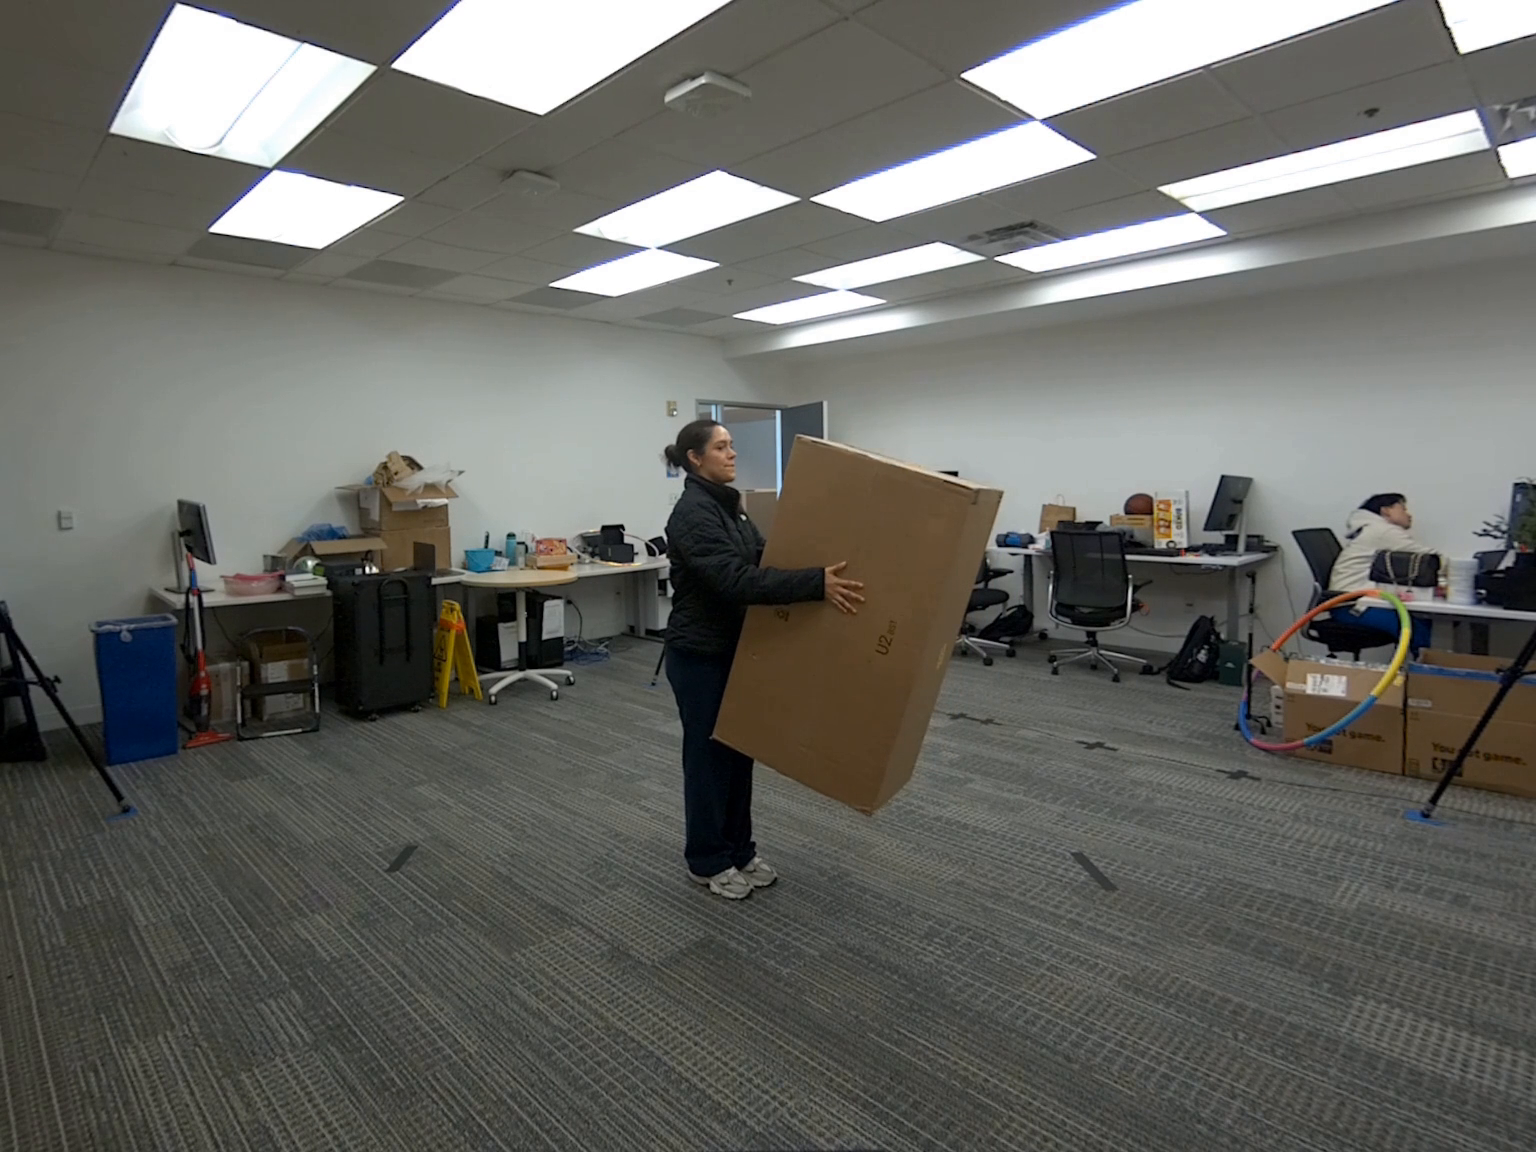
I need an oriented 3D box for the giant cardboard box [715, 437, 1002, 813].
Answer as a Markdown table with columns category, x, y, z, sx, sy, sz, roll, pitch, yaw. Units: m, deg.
| category | x | y | z | sx | sy | sz | roll | pitch | yaw |
| --- | --- | --- | --- | --- | --- | --- | --- | --- | --- |
| giant cardboard box | 0.294 | 0.130 | 2.763 | 0.595 | 1.020 | 0.416 | 20 | 10 | 26 |
